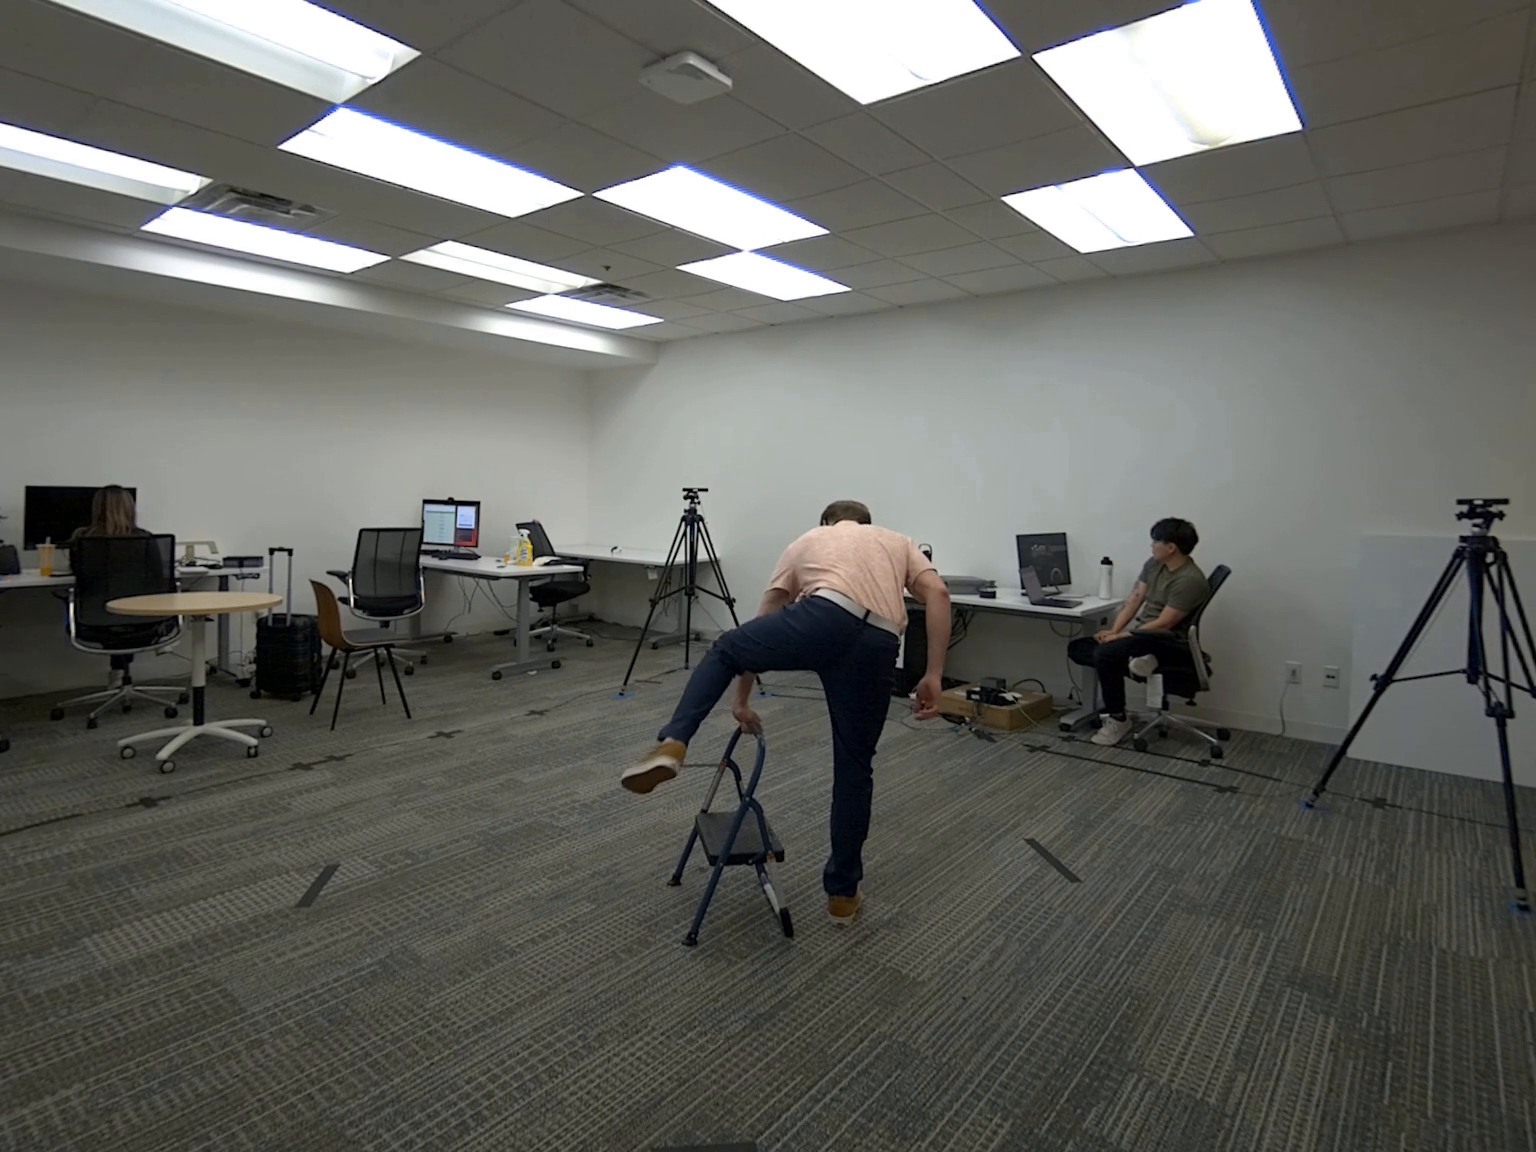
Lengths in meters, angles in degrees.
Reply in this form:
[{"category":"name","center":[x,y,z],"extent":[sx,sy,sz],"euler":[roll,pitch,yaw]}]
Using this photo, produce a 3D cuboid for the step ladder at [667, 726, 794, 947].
[{"category":"step ladder","center":[-0.130,0.801,2.802],"extent":[0.345,0.604,0.438],"euler":[1,4,-13]}]
